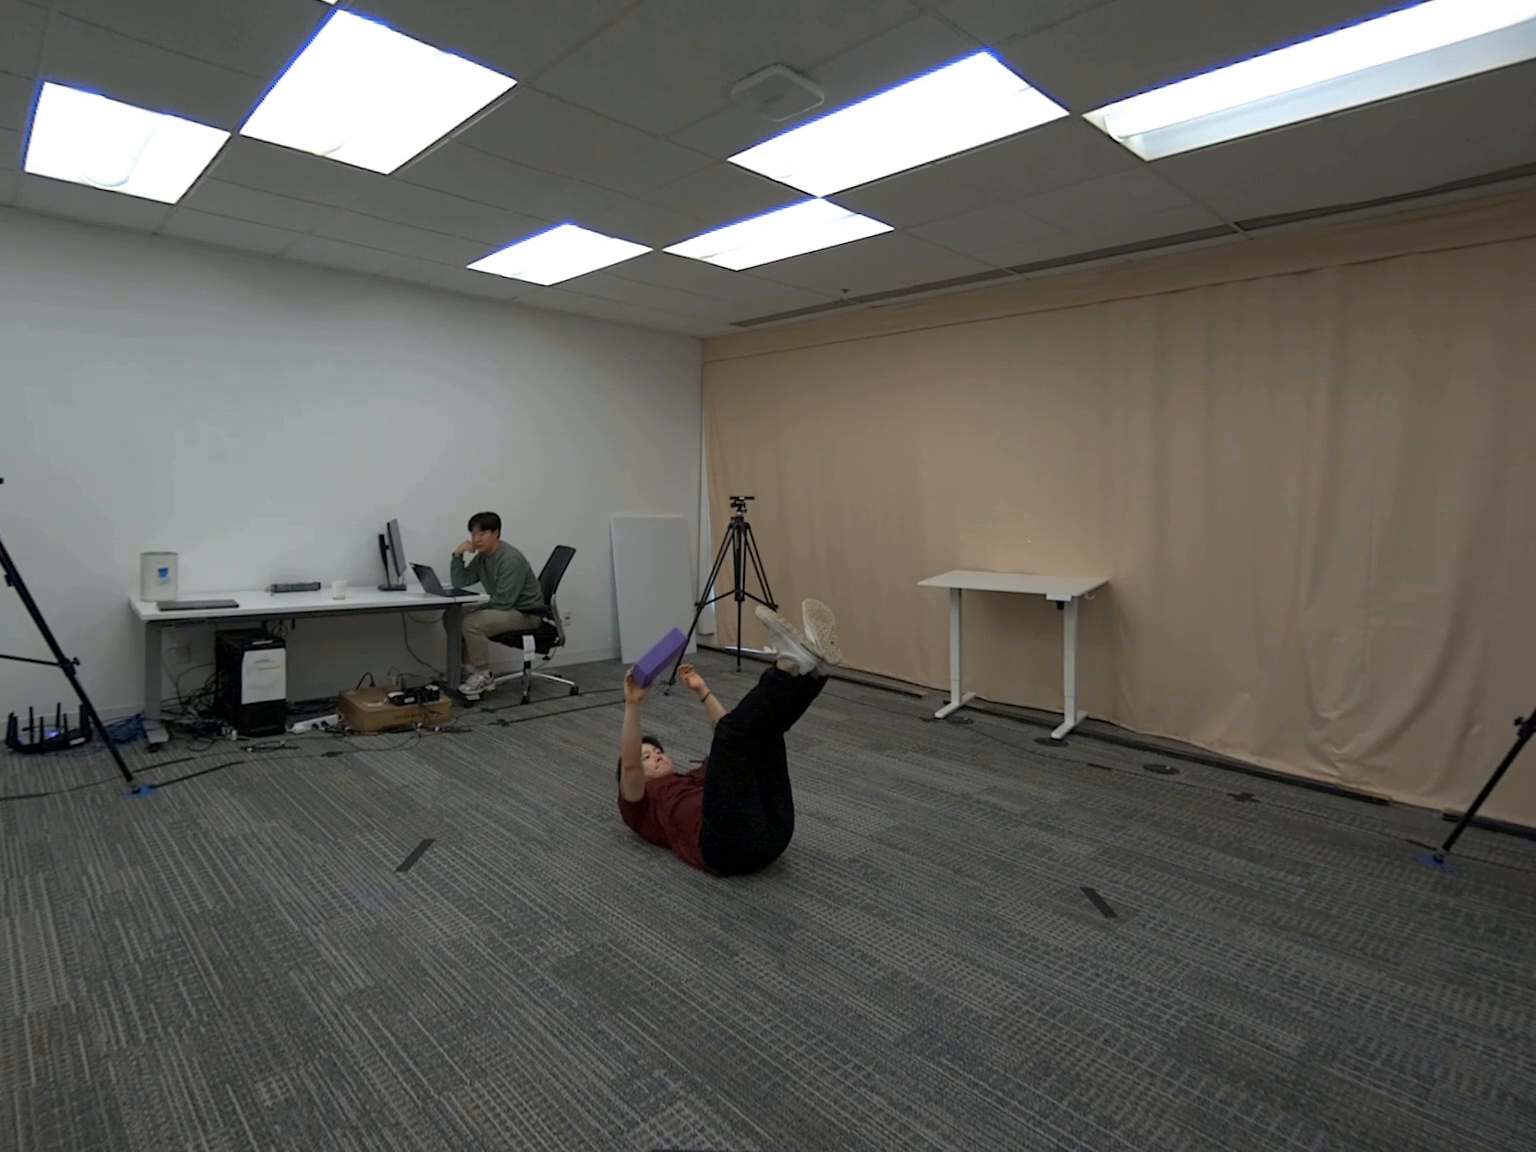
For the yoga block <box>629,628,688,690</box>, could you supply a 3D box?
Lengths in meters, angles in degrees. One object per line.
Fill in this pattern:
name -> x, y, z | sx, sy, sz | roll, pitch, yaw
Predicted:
yoga block -> -0.425, 0.316, 3.209 | 0.229, 0.077, 0.148 | -43, -8, -29
